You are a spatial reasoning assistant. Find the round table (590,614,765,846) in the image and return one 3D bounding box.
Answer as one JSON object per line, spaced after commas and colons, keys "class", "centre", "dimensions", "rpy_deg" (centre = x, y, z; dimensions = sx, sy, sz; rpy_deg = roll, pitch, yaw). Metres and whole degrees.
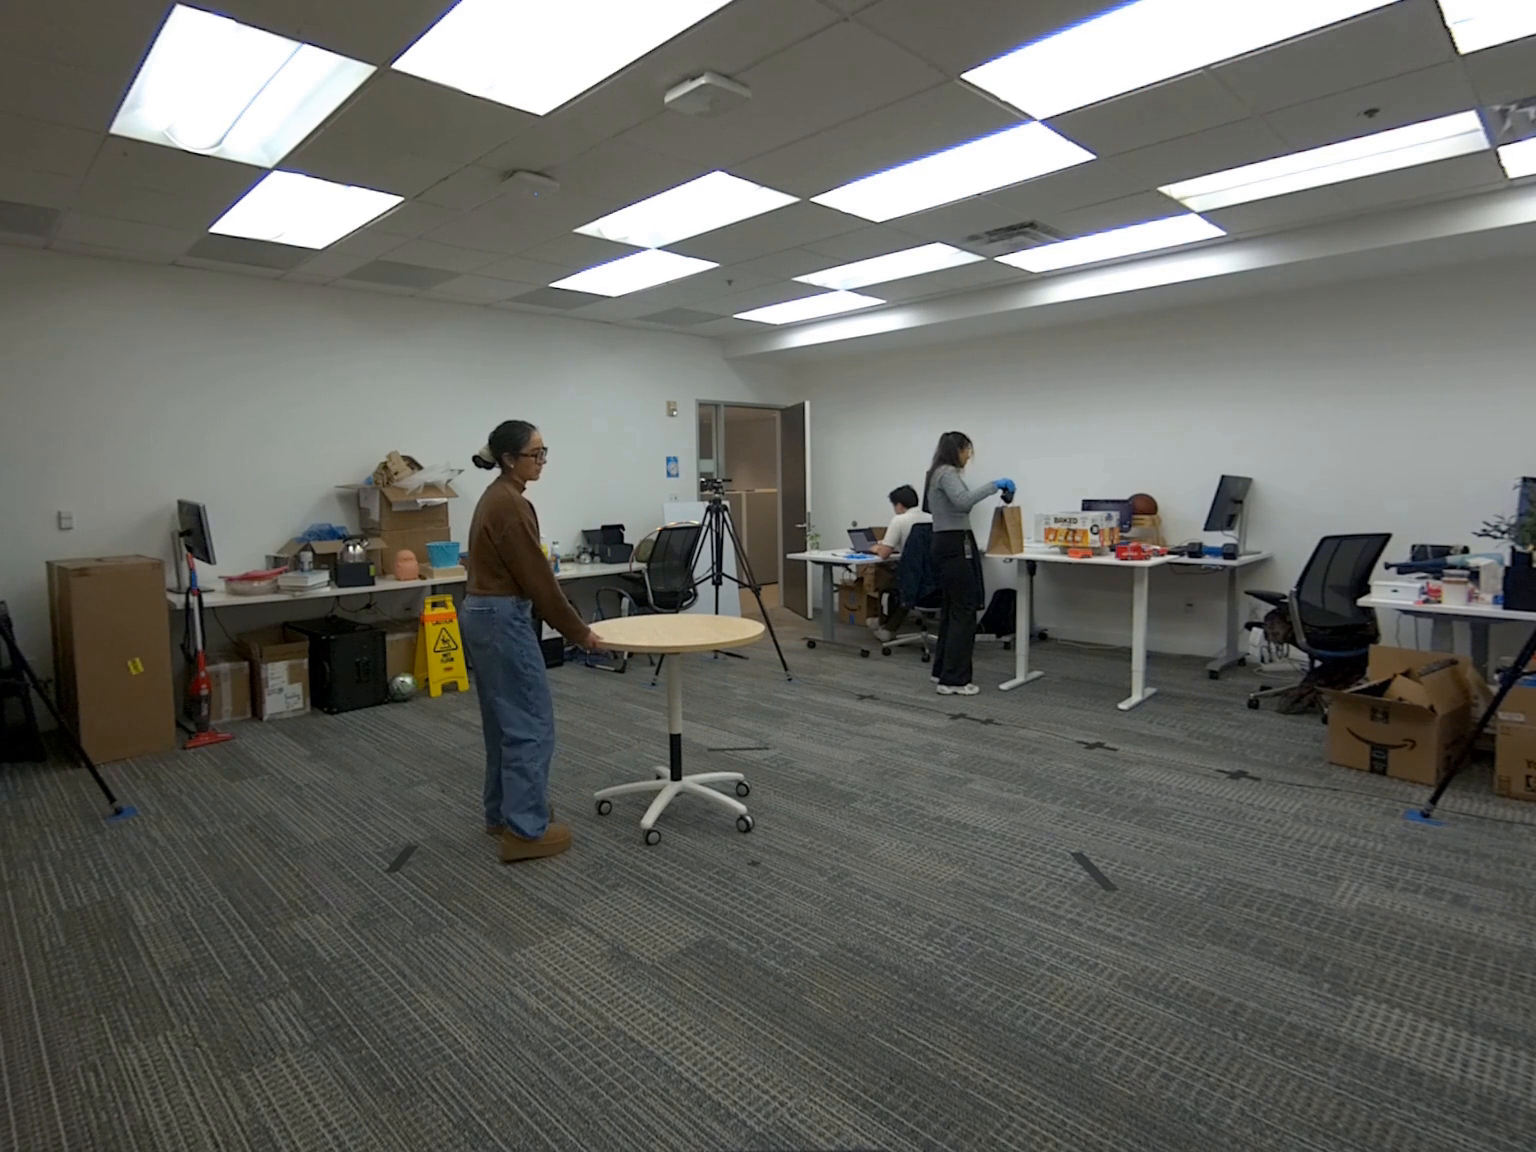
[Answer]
{"class": "round table", "centre": [-0.389, 0.608, 3.576], "dimensions": [0.763, 0.791, 0.767], "rpy_deg": [-1, 4, -2]}
